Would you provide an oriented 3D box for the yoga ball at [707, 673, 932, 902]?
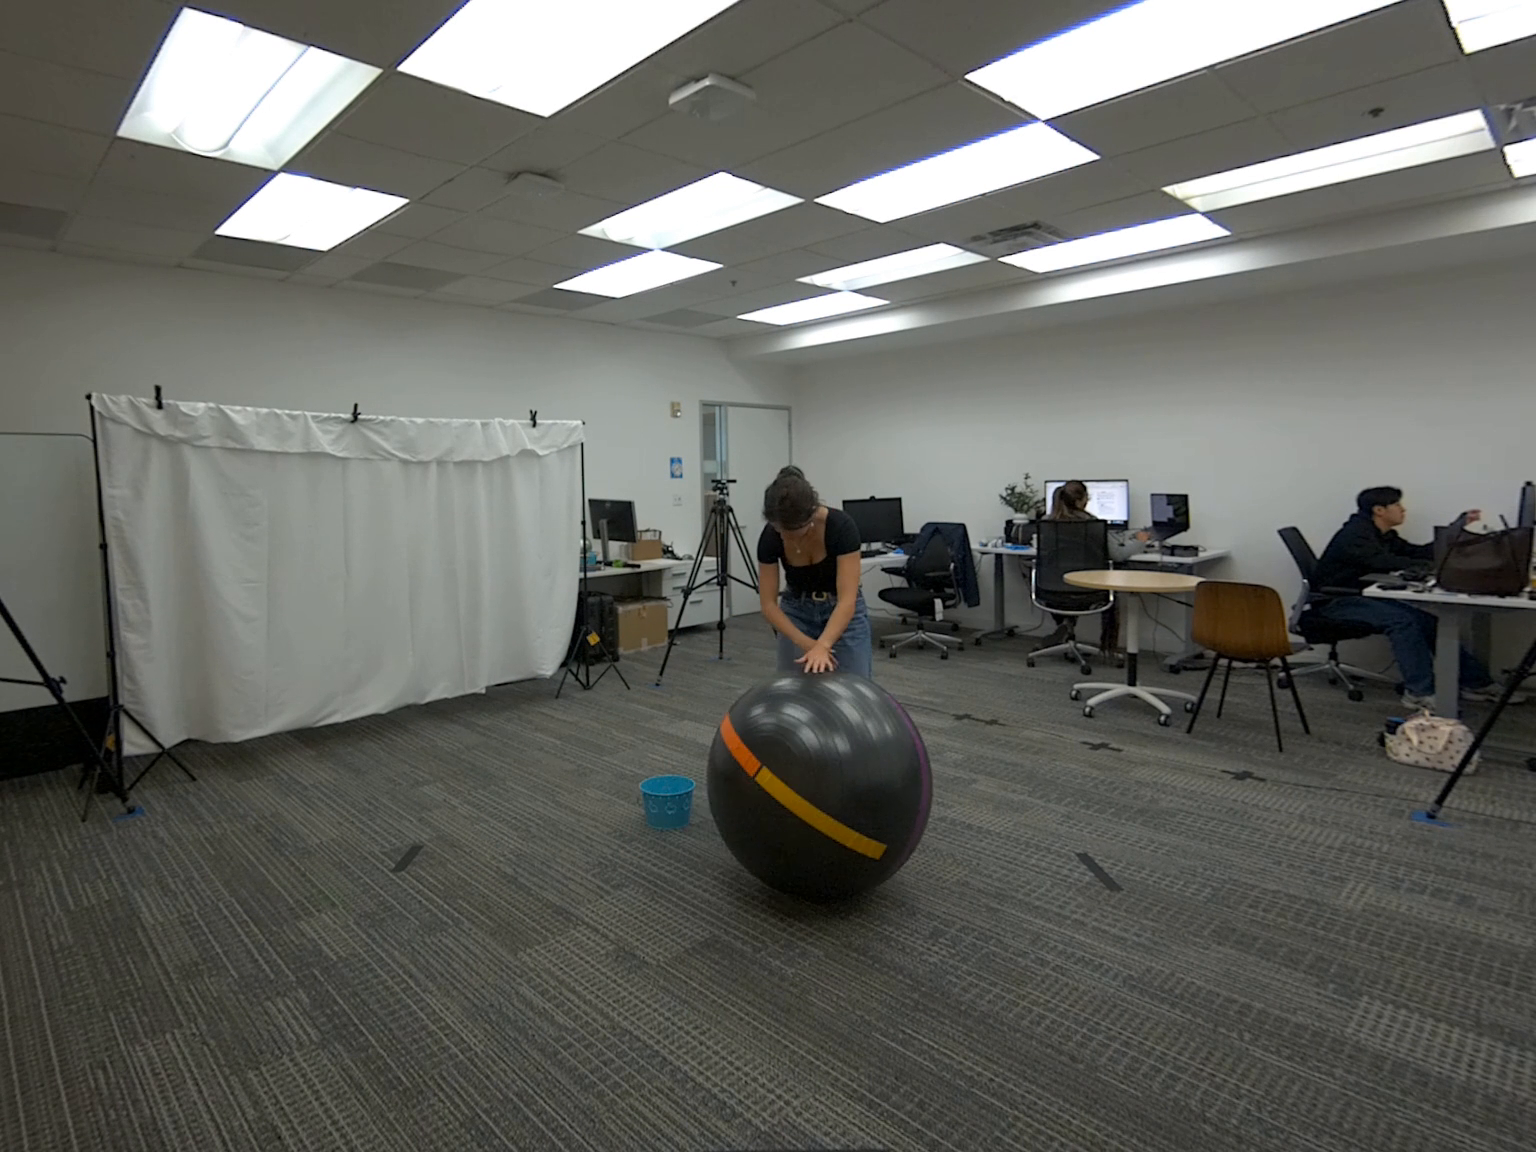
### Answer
[{"bbox_3d":[0.163,0.697,2.899,0.757,0.755,0.762,-1,5,-2],"label":"yoga ball"}]
